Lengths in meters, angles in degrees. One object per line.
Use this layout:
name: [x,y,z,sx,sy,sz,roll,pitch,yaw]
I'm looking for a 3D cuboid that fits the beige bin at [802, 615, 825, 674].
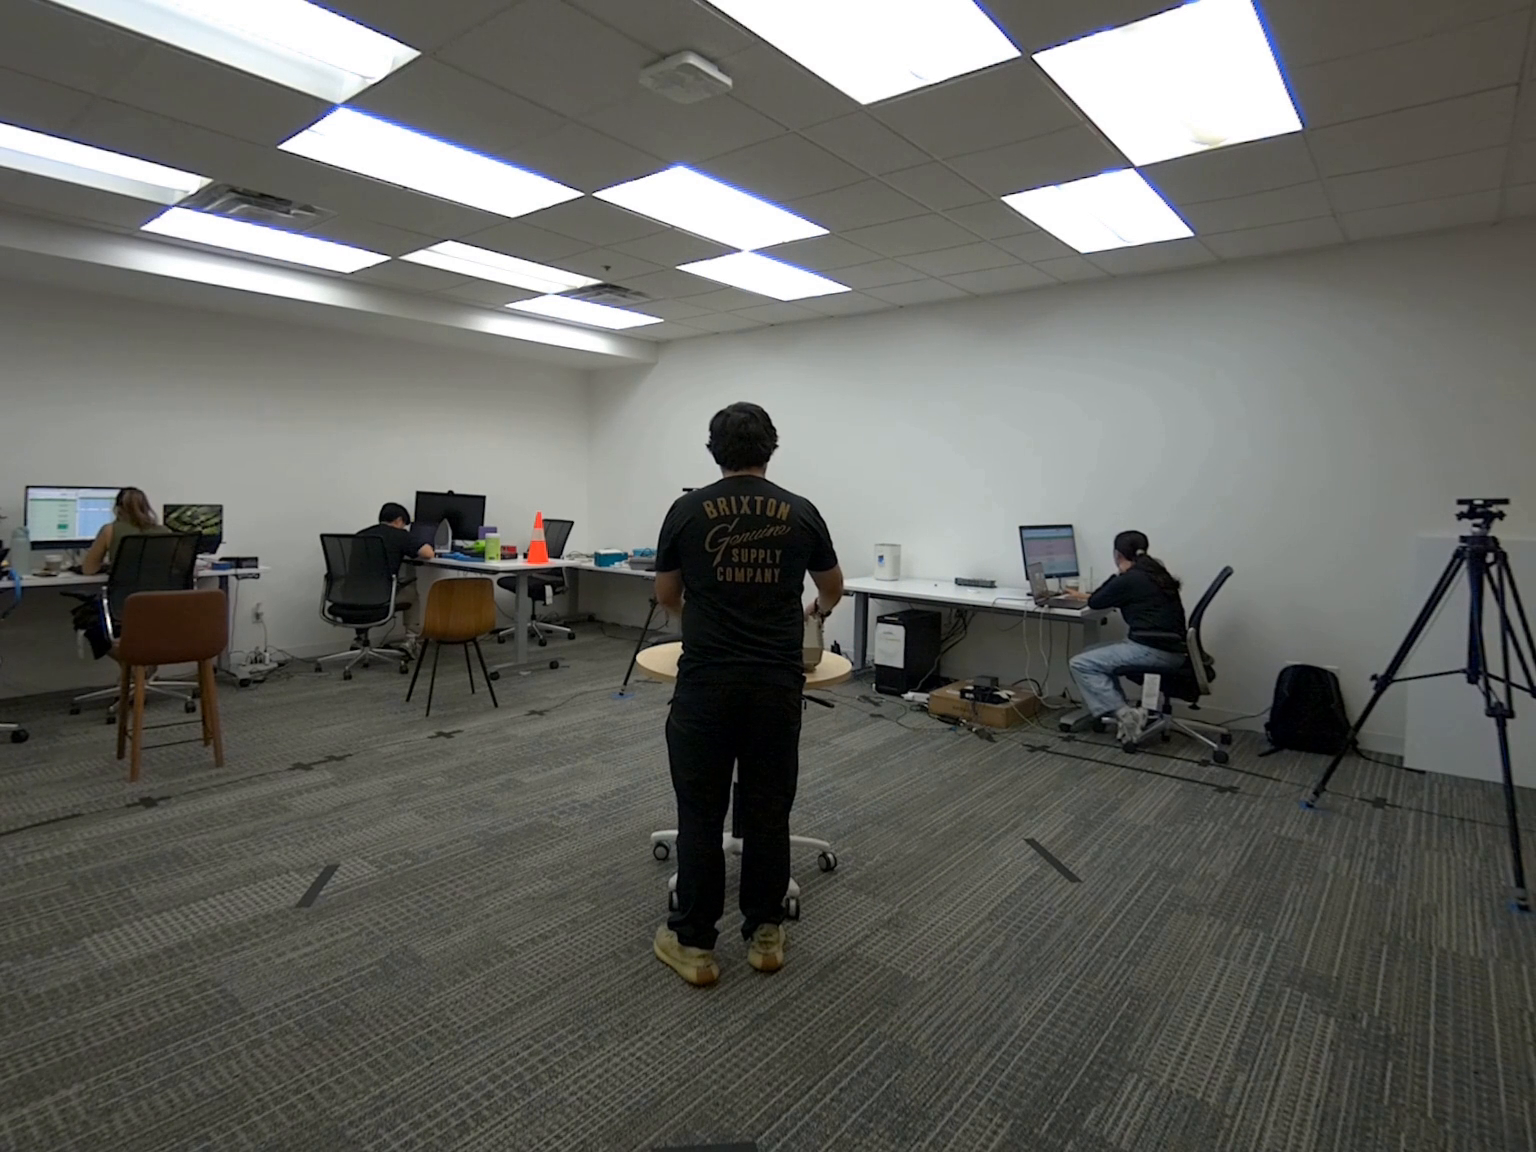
beige bin: [-0.078,0.193,2.968,0.415,0.189,0.384,0,3,-16]
